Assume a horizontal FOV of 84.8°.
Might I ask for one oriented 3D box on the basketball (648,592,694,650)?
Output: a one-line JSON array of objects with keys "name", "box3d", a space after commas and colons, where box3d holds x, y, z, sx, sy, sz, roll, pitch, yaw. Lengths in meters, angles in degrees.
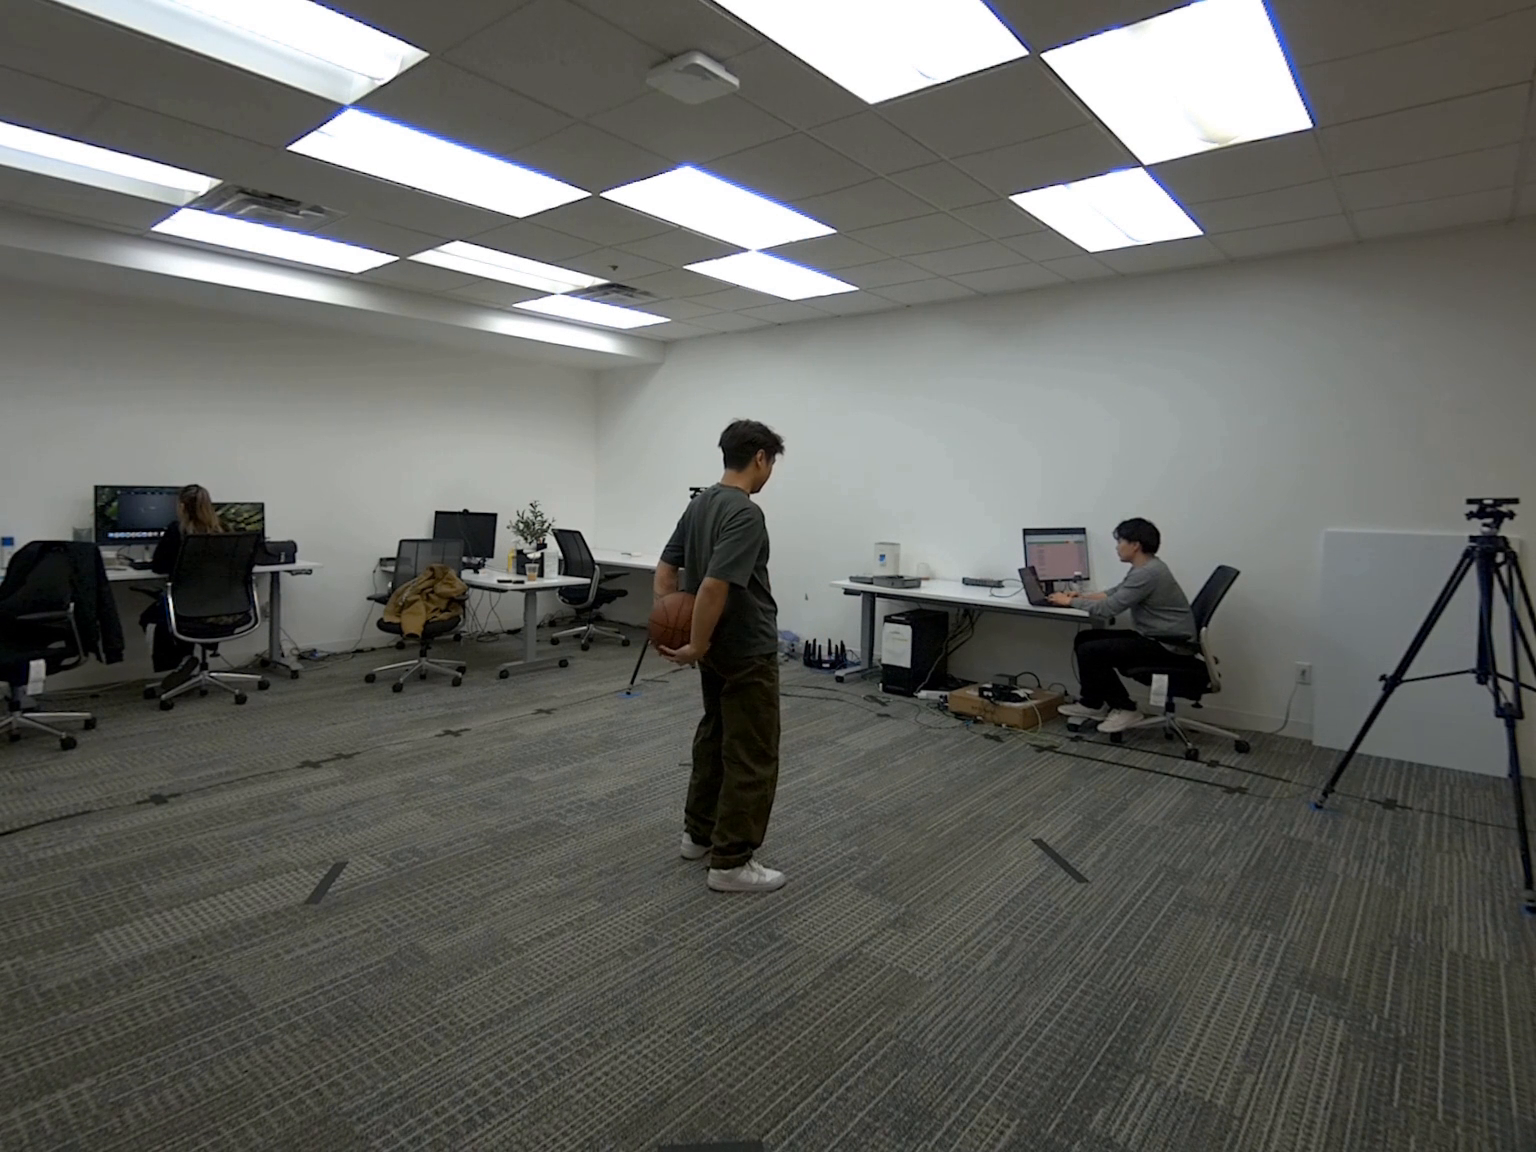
[{"name": "basketball", "box3d": [-0.313, 0.164, 3.016, 0.235, 0.235, 0.237, 1, 4, -2]}]
